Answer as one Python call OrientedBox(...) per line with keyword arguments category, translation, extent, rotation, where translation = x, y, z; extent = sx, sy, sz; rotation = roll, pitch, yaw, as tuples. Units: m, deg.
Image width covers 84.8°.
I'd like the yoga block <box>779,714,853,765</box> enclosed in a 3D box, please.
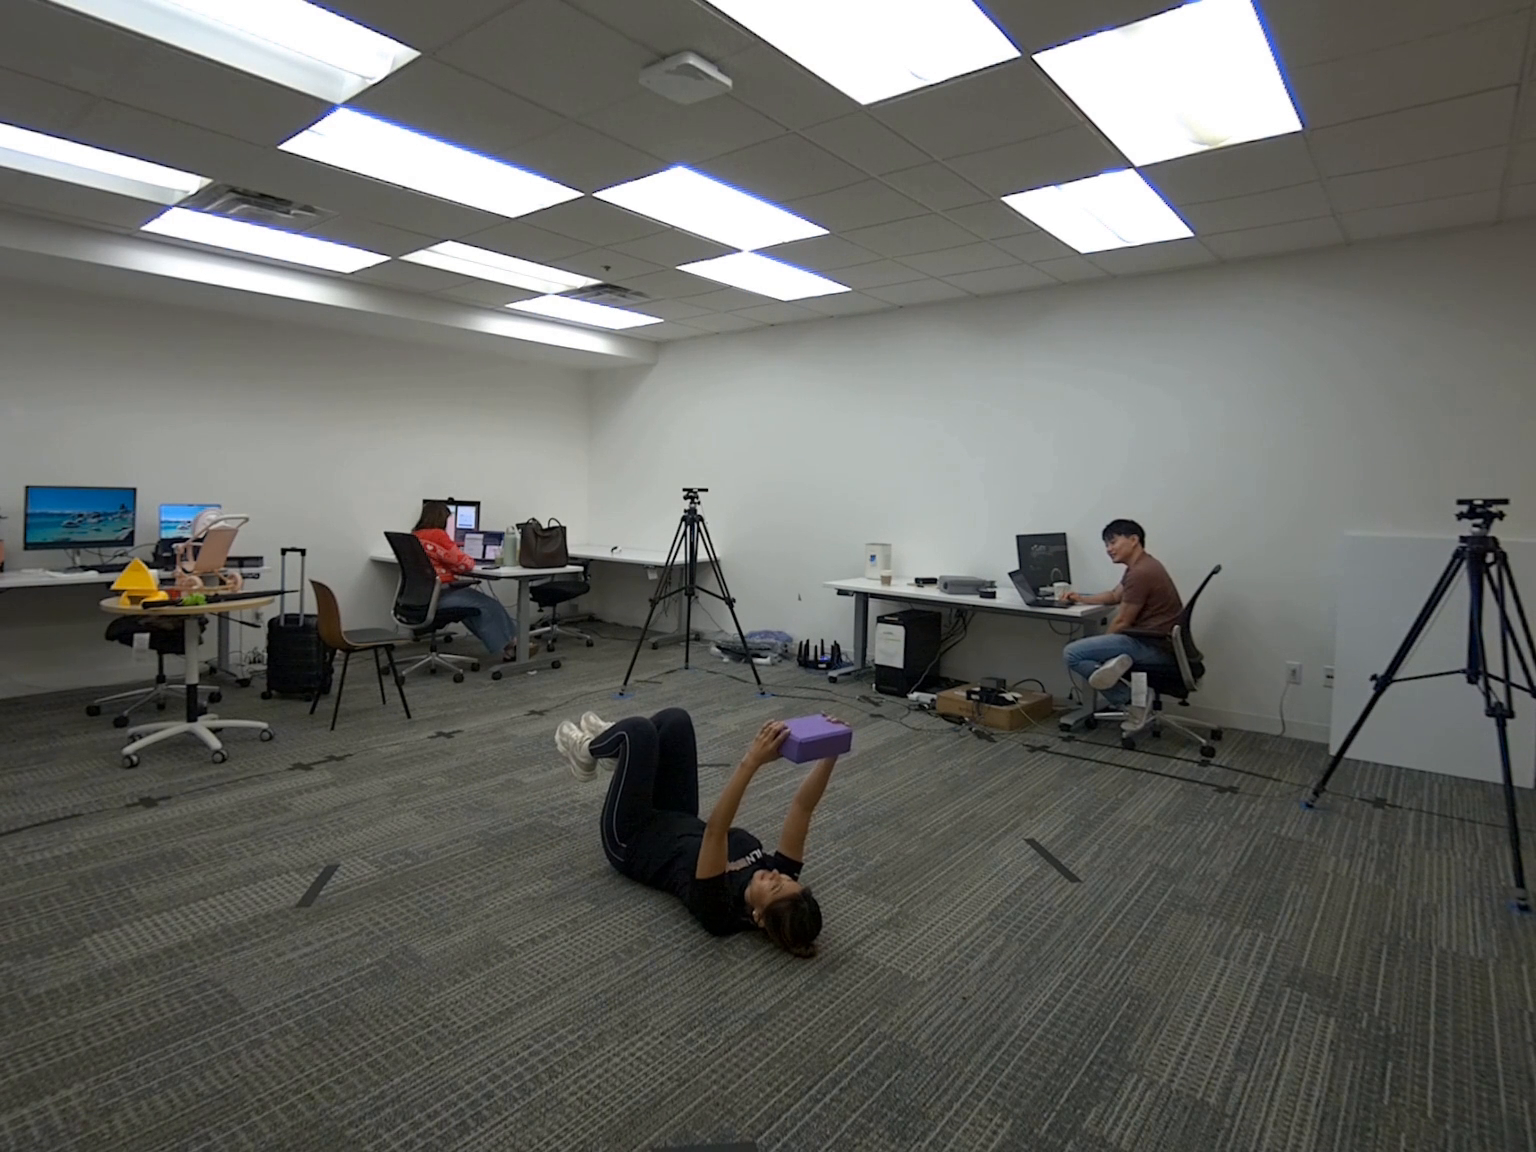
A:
OrientedBox(category="yoga block", translation=(0.114, 0.475, 2.521), extent=(0.222, 0.076, 0.154), rotation=(-2, 11, -39))
